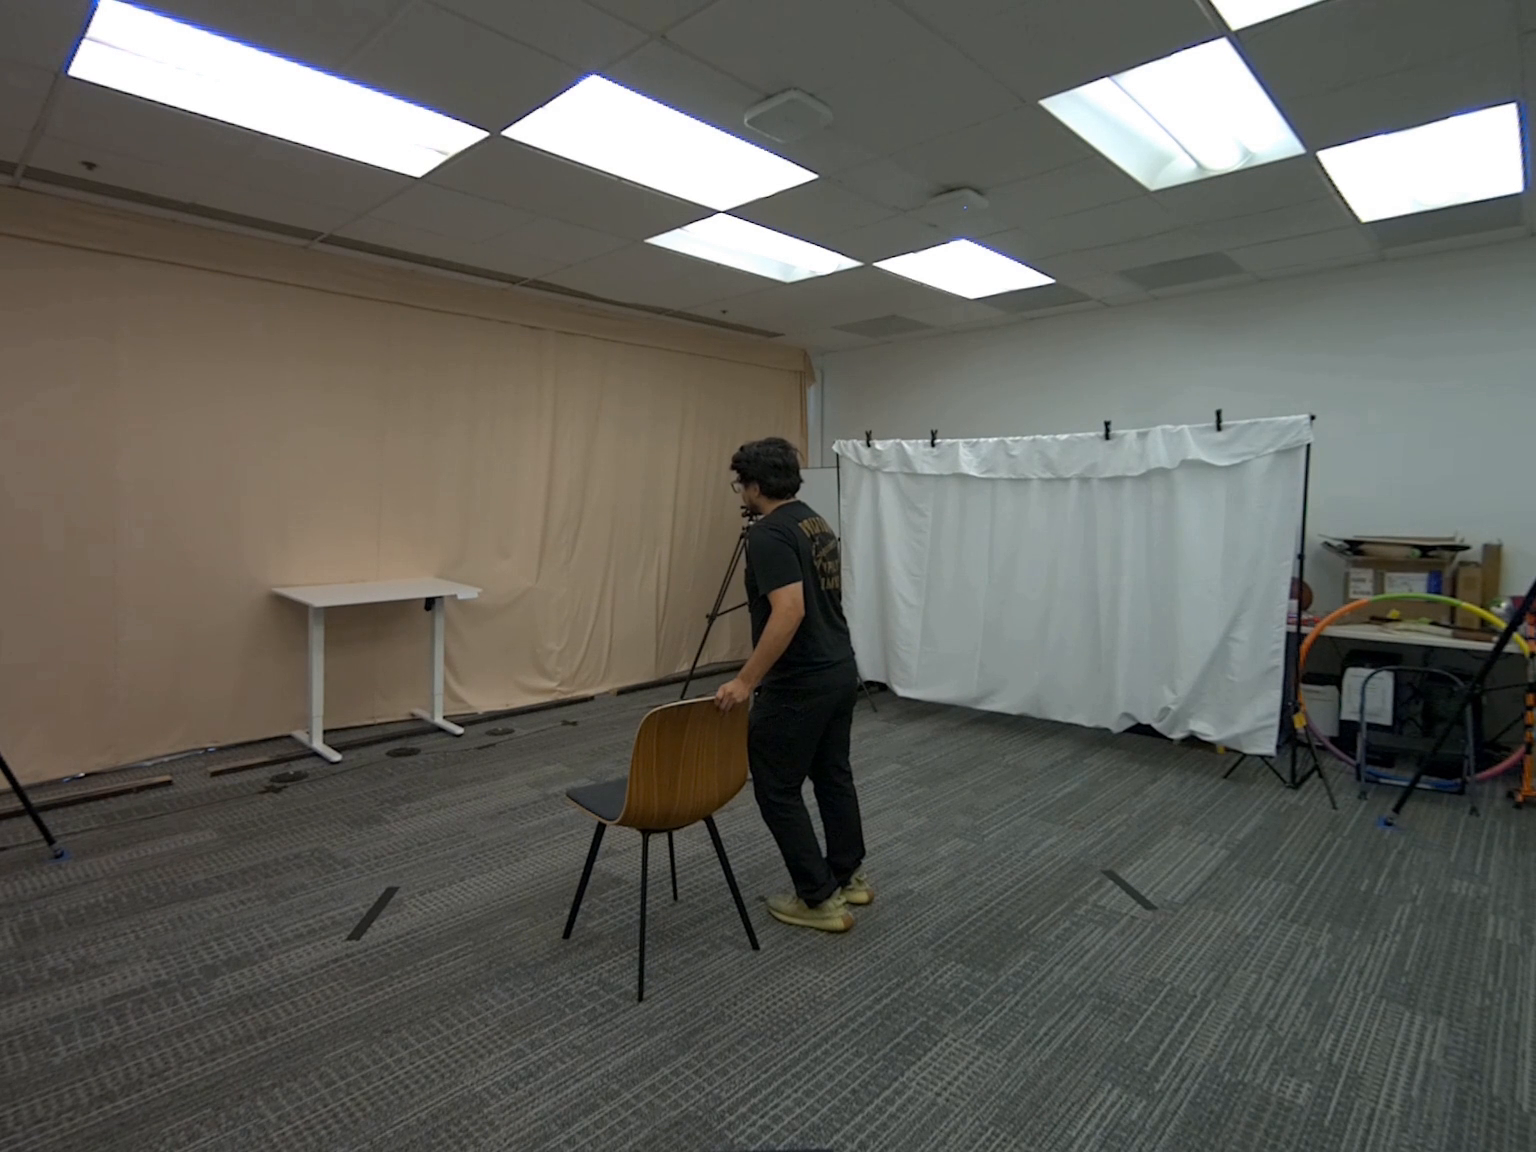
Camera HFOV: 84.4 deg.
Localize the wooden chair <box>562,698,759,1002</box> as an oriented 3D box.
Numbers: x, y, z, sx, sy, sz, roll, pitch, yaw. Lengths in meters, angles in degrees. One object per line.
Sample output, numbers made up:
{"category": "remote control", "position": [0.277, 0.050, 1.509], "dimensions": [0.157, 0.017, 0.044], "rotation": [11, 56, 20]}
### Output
{"category": "wooden chair", "position": [-0.352, 0.748, 2.653], "dimensions": [0.463, 0.874, 0.541], "rotation": [-2, 8, -41]}
